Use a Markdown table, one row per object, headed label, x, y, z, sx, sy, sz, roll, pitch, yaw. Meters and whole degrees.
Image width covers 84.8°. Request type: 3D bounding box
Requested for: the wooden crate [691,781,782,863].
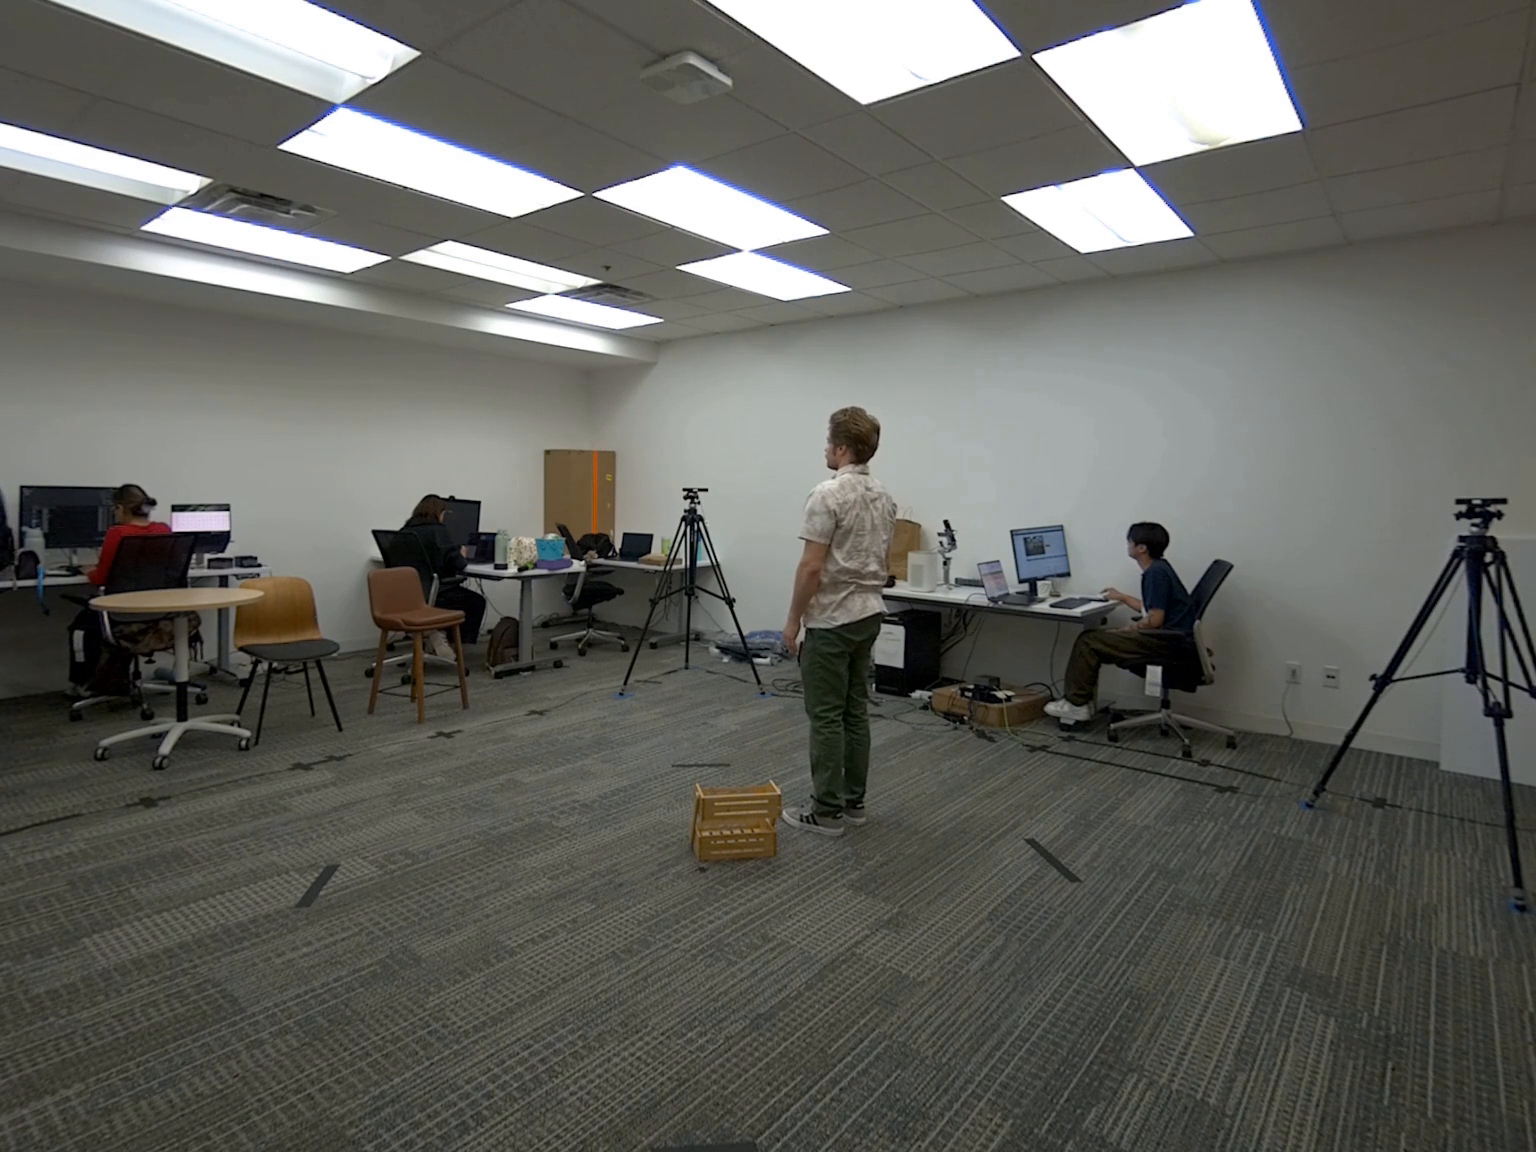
| label | x | y | z | sx | sy | sz | roll | pitch | yaw |
| --- | --- | --- | --- | --- | --- | --- | --- | --- | --- |
| wooden crate | -0.143 | 0.919 | 3.304 | 0.320 | 0.272 | 0.307 | 0 | 4 | -13 |
